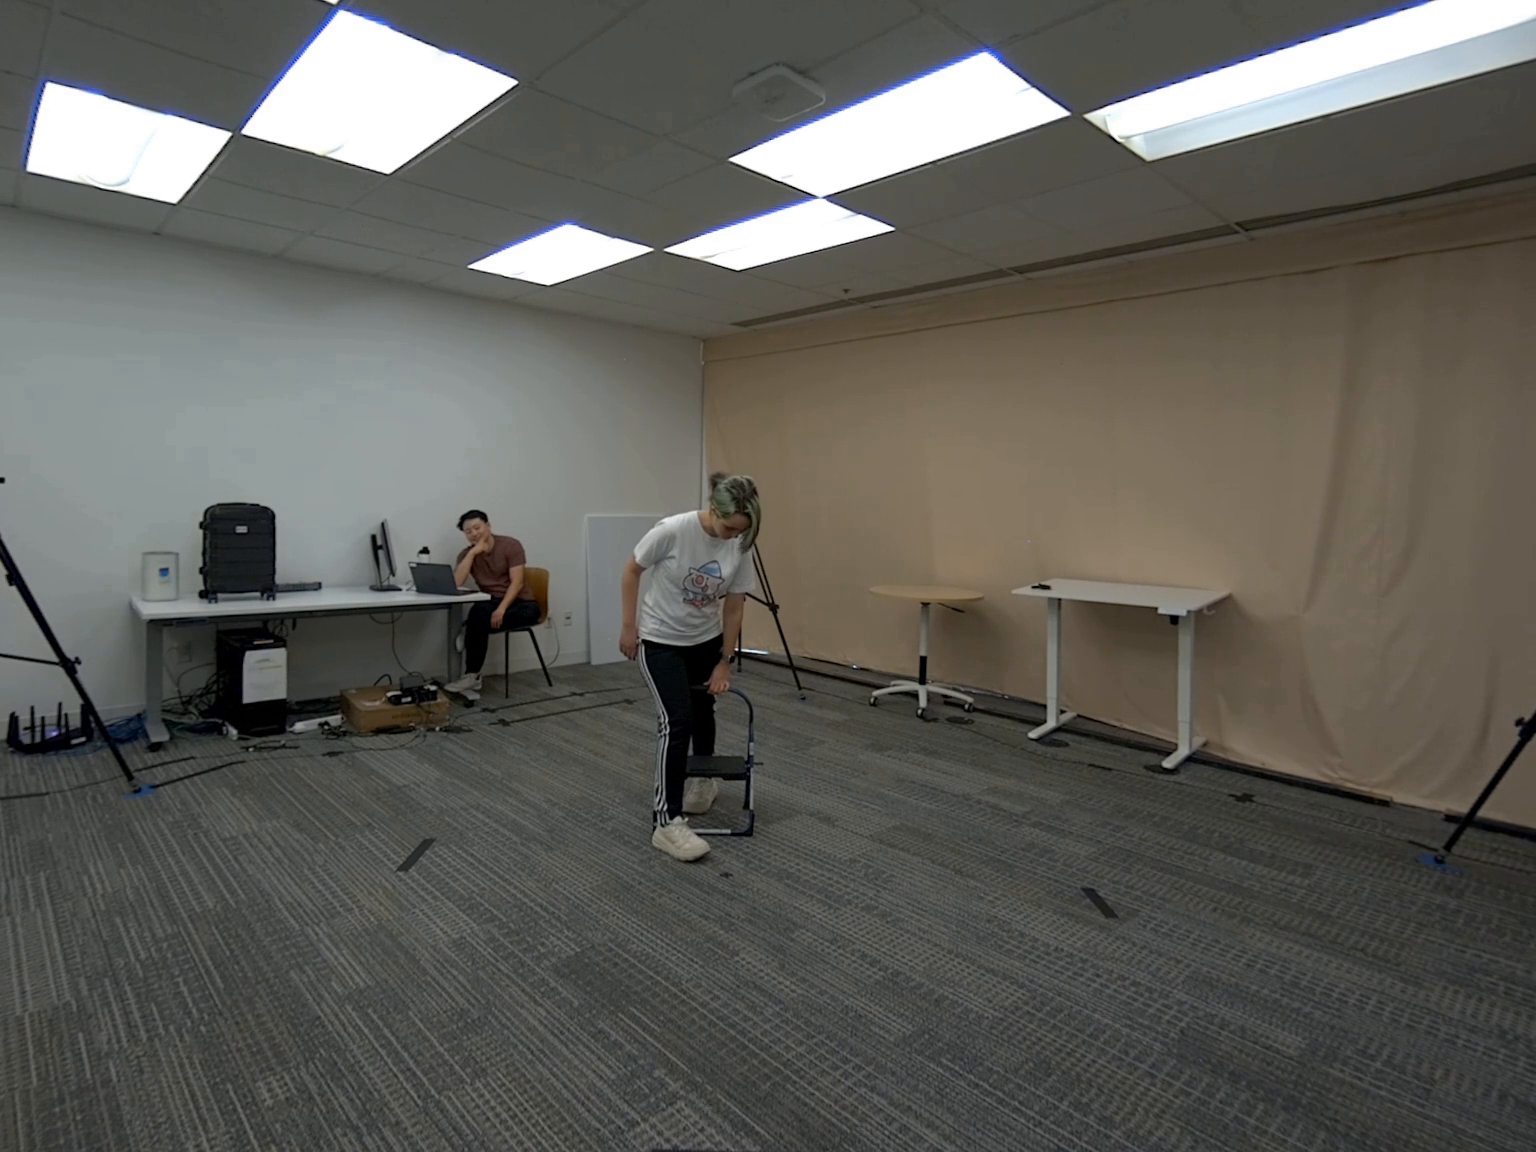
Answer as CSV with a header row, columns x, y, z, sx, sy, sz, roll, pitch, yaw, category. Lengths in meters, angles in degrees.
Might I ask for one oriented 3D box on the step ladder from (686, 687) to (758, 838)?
x,y,z,sx,sy,sz,roll,pitch,yaw,category
-0.278,0.758,3.621,0.429,0.605,0.351,1,3,-3,step ladder
